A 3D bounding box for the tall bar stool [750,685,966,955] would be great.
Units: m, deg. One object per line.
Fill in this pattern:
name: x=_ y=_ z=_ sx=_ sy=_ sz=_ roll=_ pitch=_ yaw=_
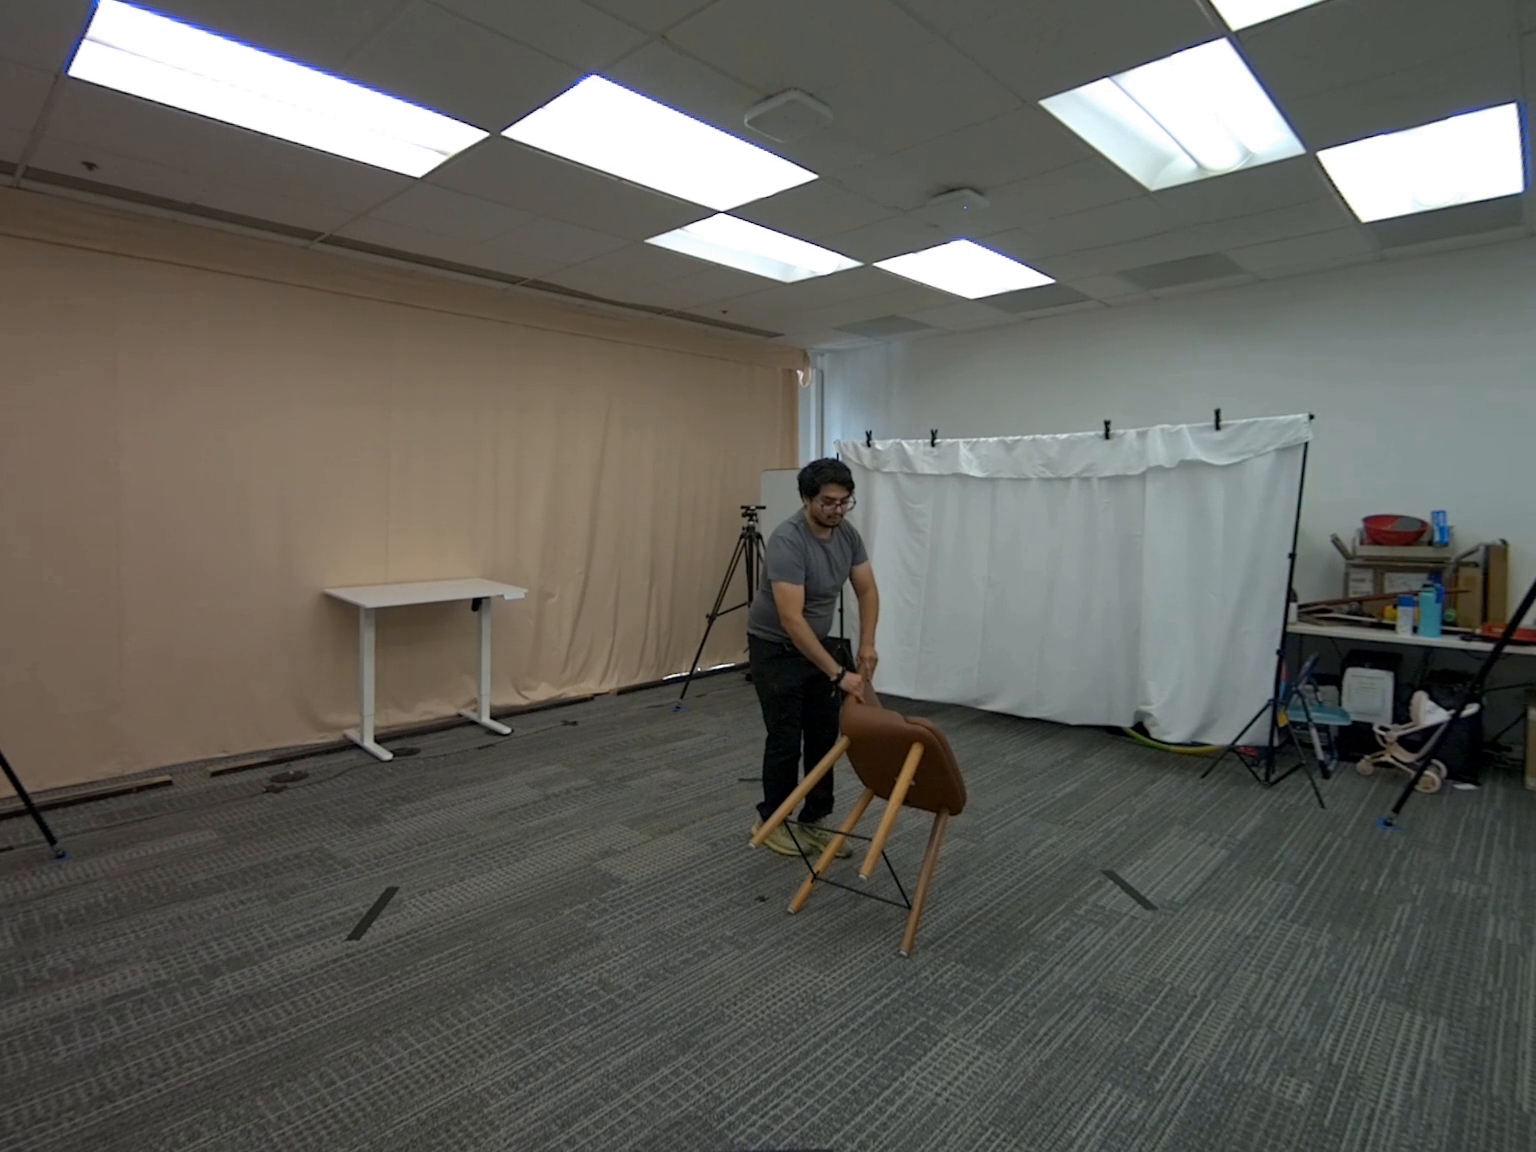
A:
tall bar stool: x=0.391 y=0.742 z=2.917 sx=0.482 sy=0.445 sz=0.885 roll=-2 pitch=38 yaw=39
